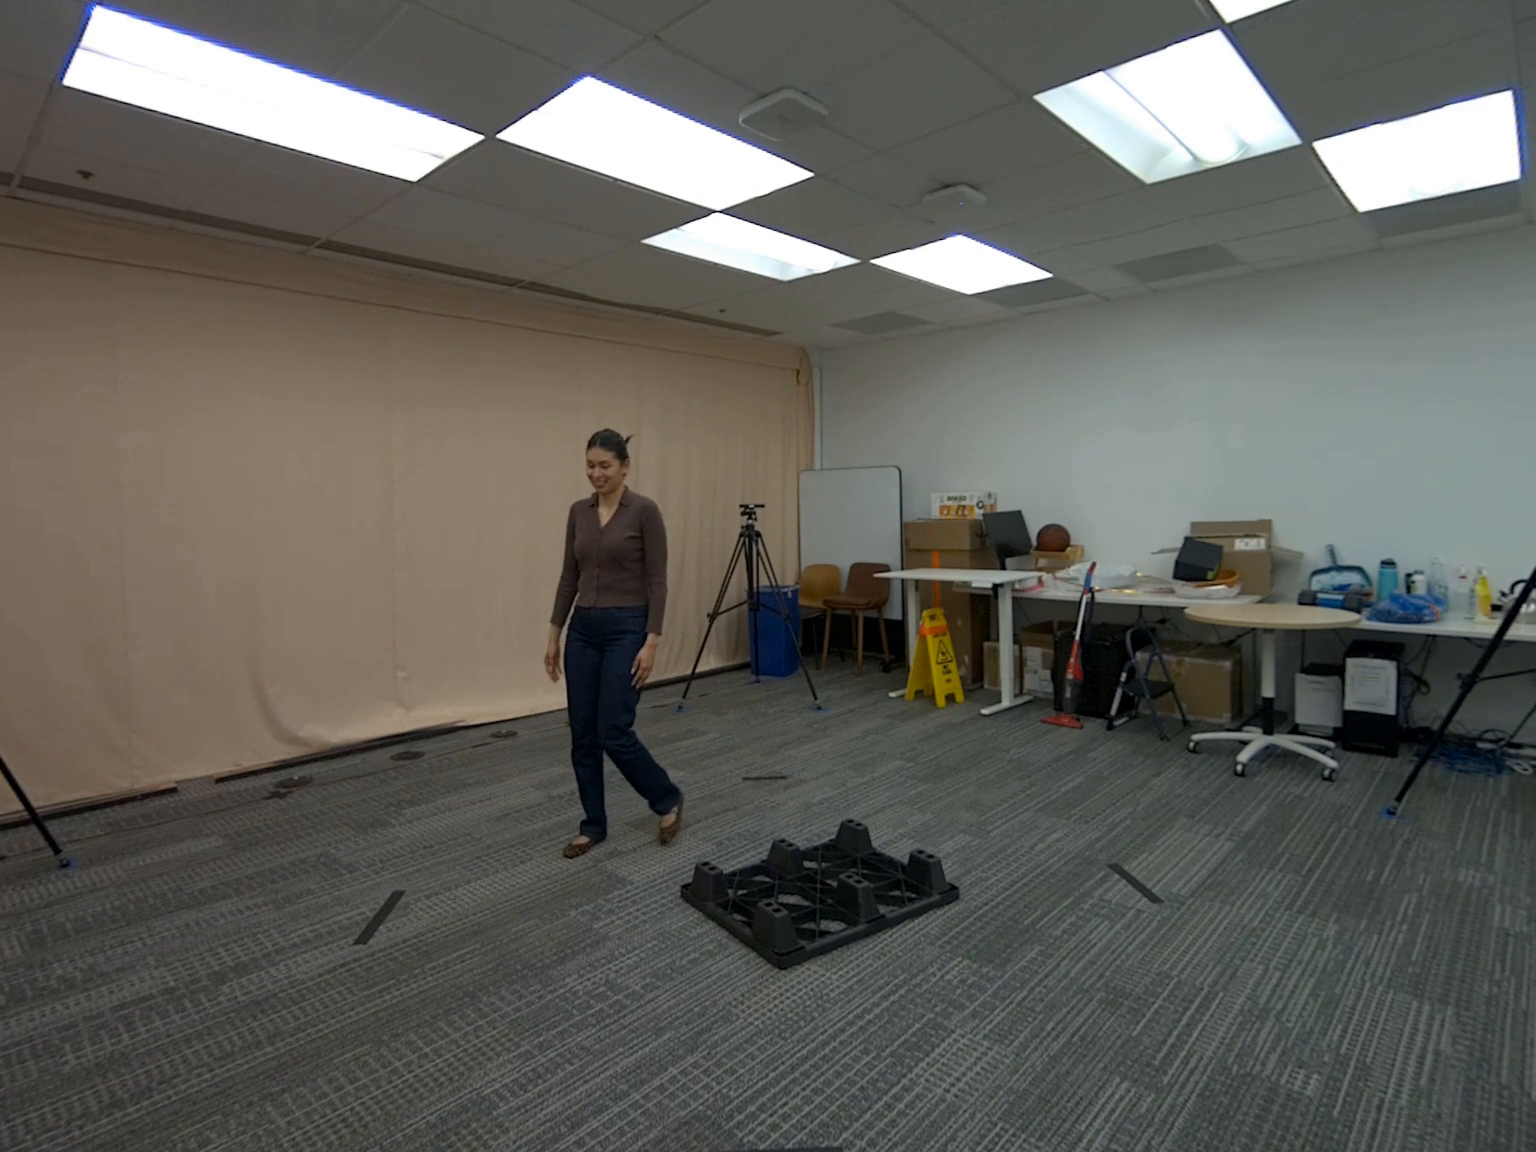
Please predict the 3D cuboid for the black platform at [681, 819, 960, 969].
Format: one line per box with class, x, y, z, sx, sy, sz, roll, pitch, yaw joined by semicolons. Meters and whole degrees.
black platform;0.183;1.069;2.974;0.782;0.143;0.624;-4;6;-35
